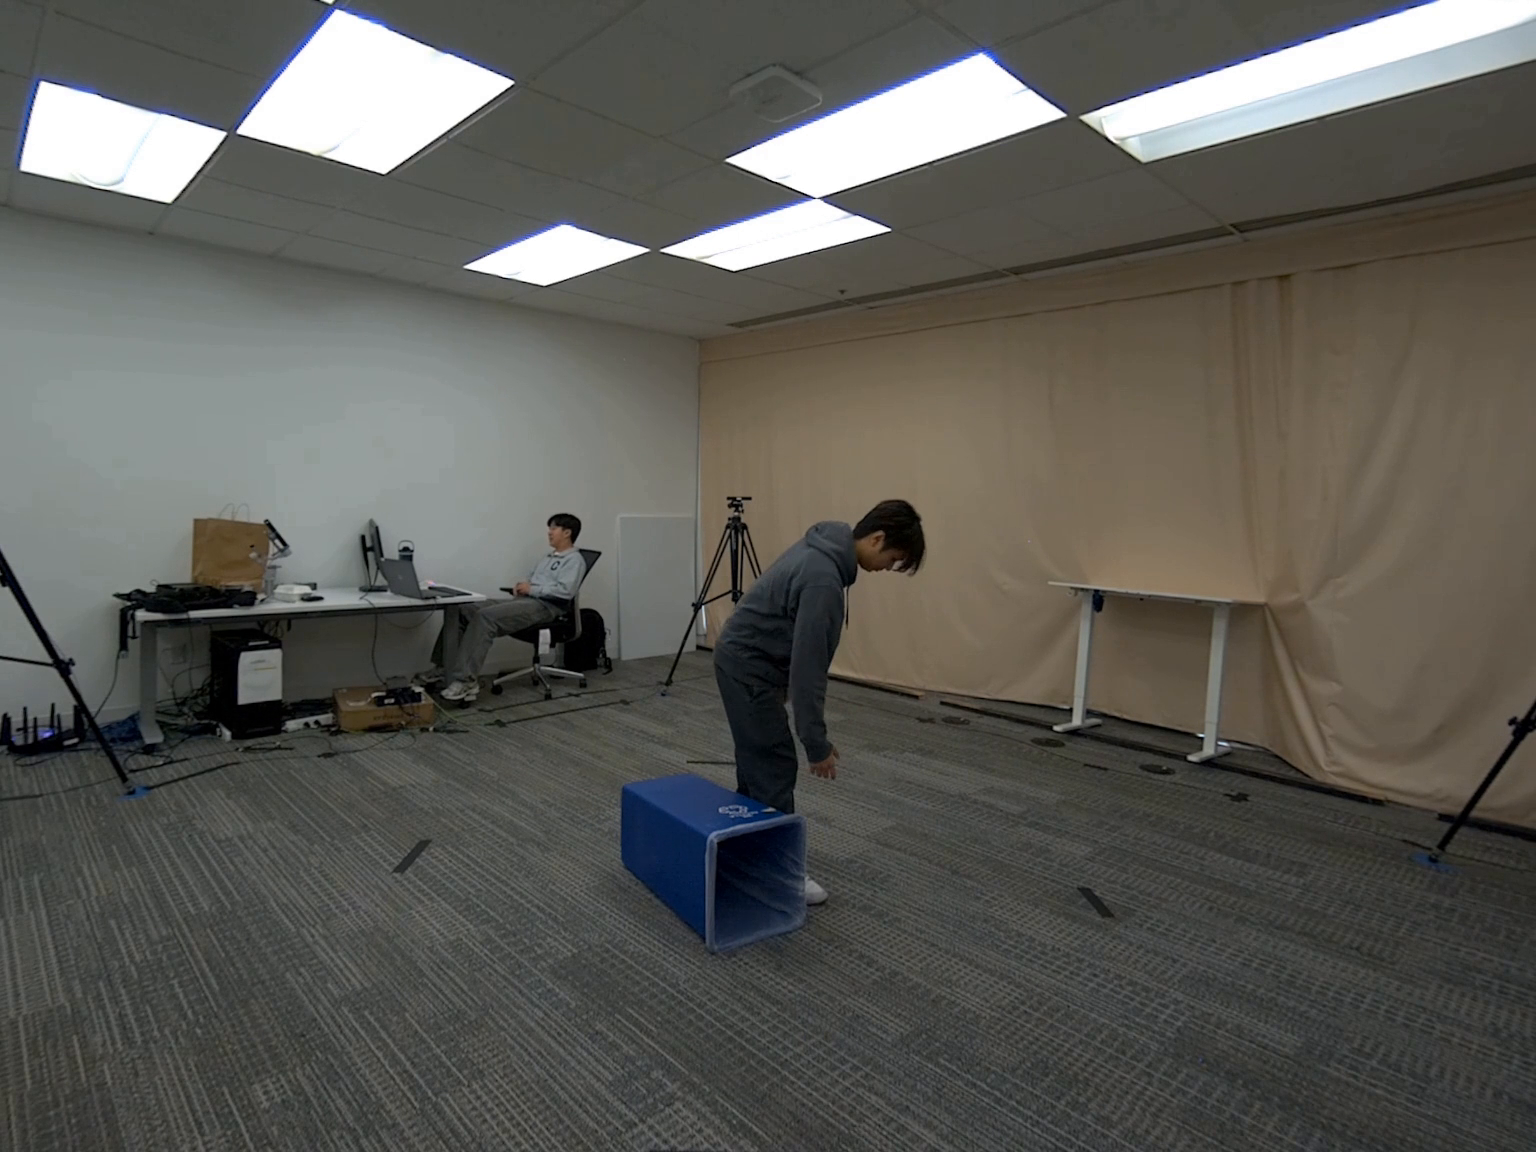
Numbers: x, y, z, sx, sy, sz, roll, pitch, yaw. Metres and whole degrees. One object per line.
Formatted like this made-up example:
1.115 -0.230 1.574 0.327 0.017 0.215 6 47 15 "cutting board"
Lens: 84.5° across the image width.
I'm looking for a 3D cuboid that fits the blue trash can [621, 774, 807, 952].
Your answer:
-0.238 0.950 2.938 0.366 0.378 0.730 -1 3 -34 "blue trash can"
